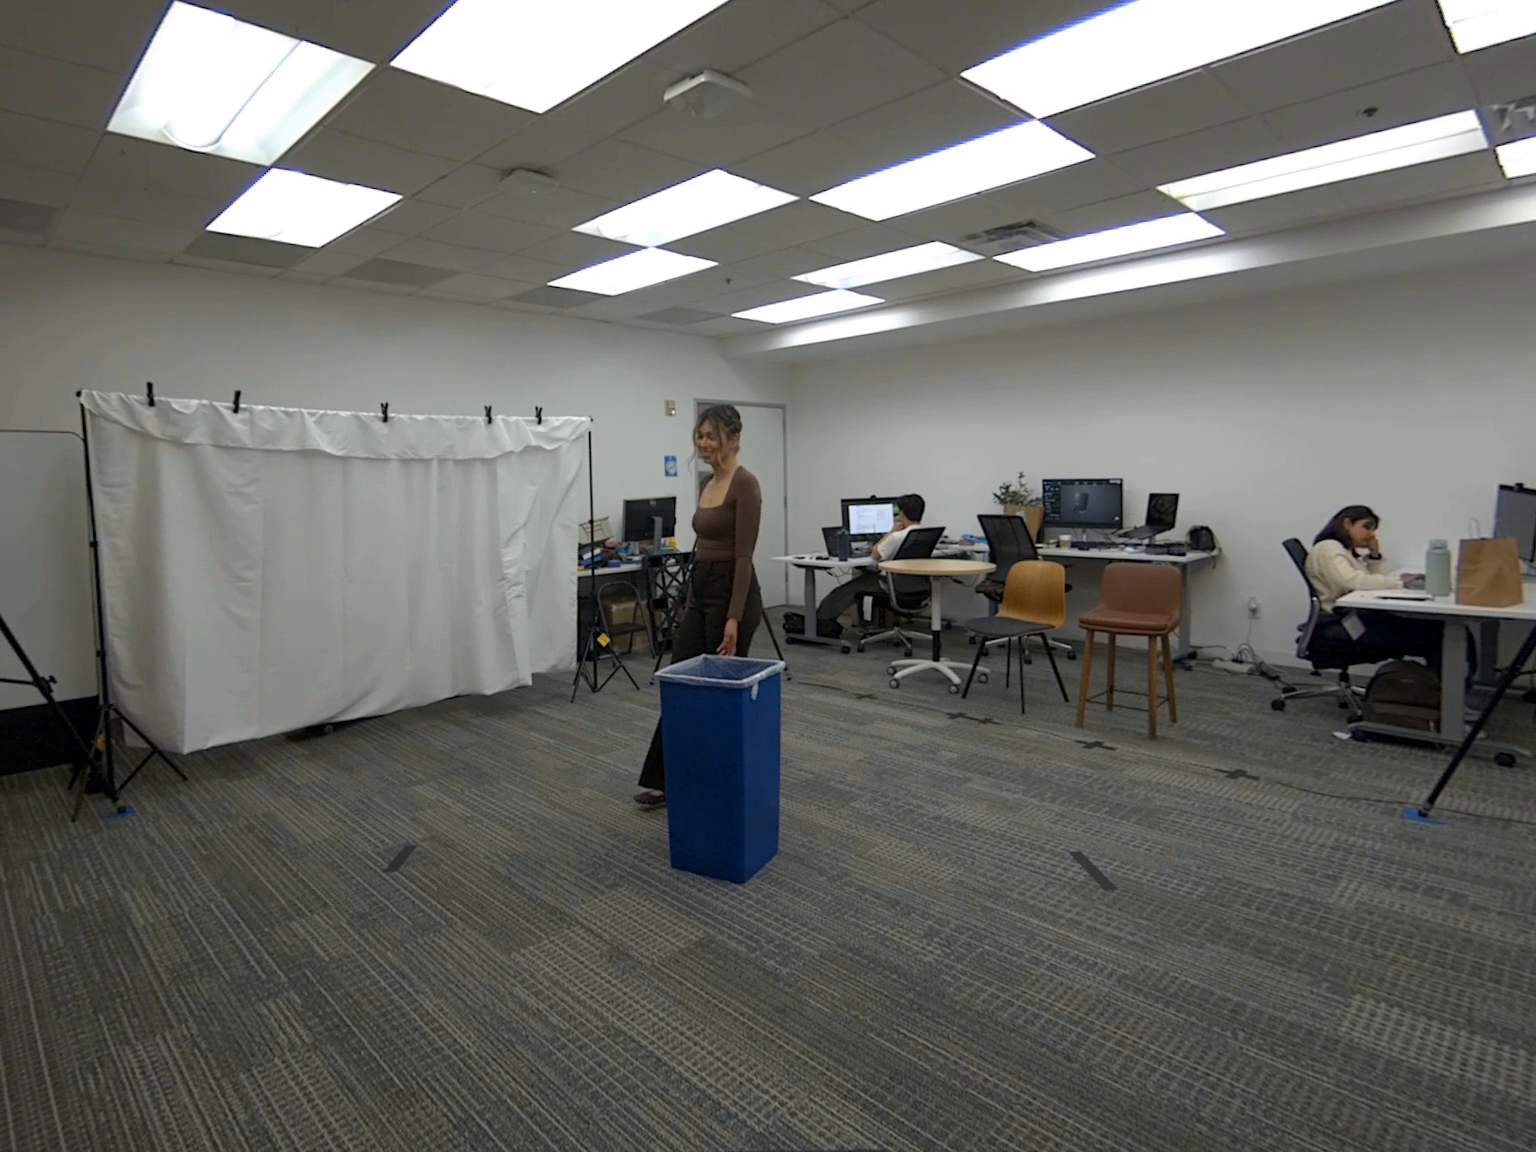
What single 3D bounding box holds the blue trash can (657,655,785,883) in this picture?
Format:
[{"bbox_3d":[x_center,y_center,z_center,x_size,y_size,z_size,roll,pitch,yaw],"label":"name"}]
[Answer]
[{"bbox_3d":[-0.165,0.685,3.119,0.383,0.711,0.370,2,4,27],"label":"blue trash can"}]
